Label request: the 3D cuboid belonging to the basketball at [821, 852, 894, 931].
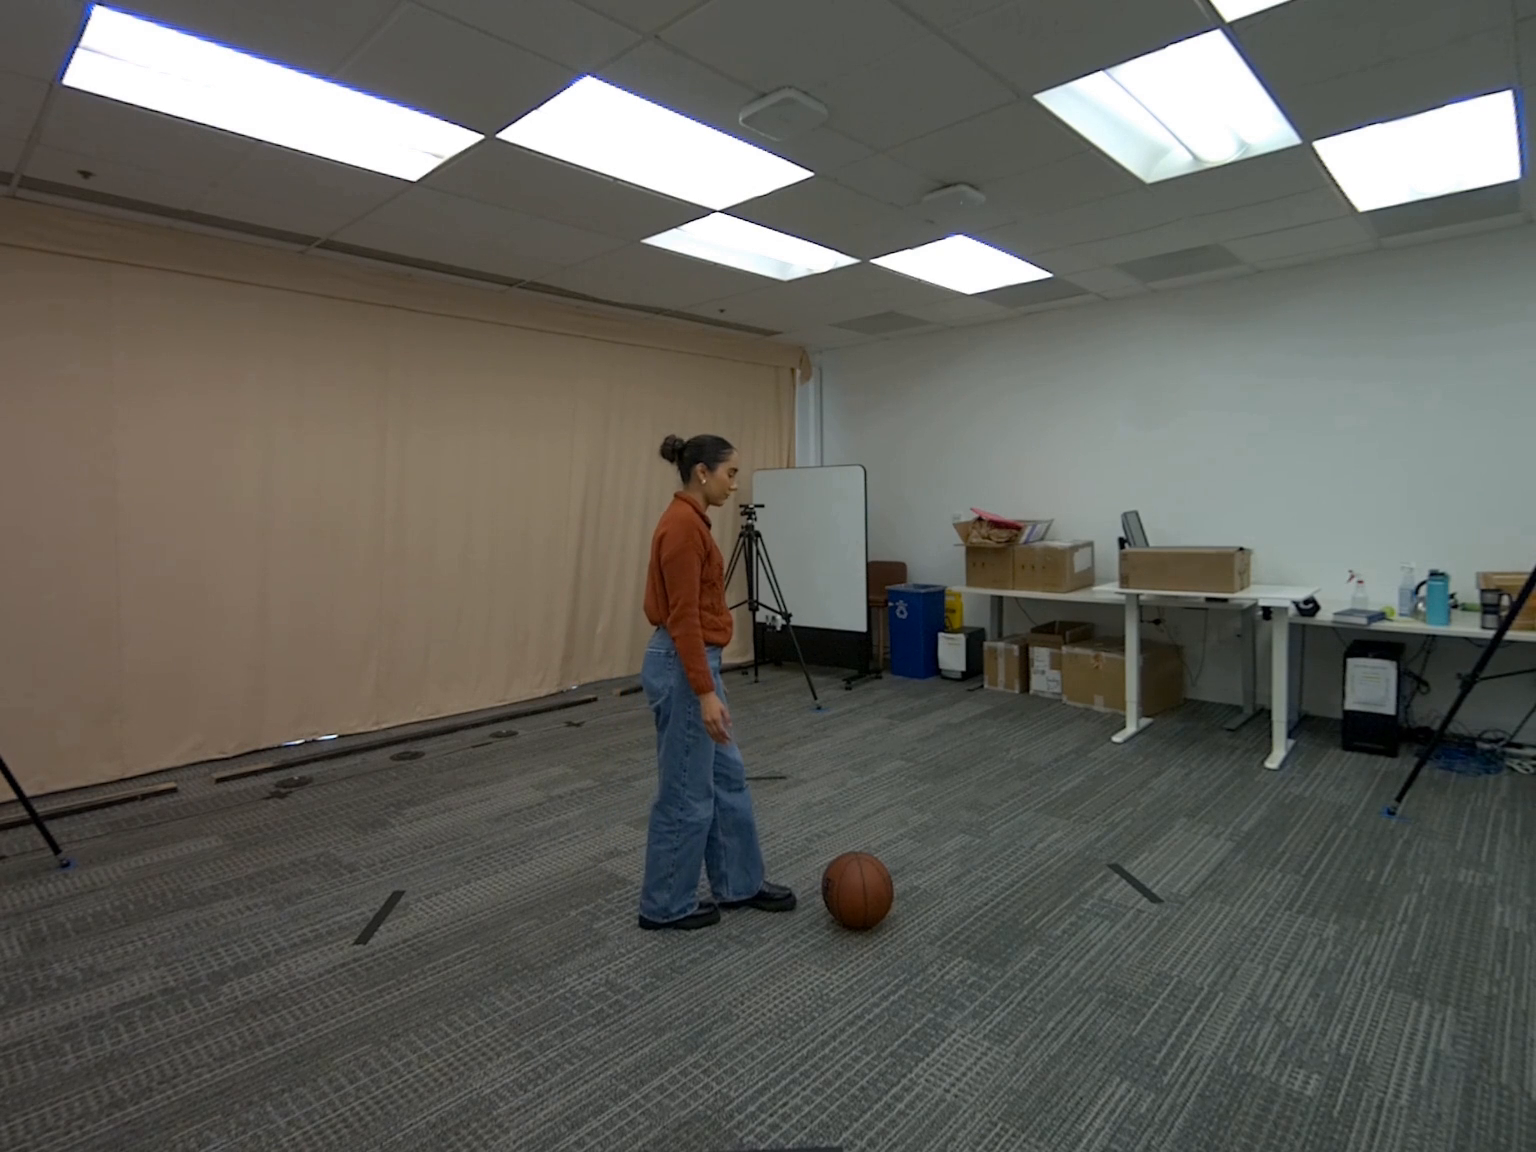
[{"bbox_3d":[0.299,1.032,2.771,0.236,0.235,0.237,-1,4,-2],"label":"basketball"}]
